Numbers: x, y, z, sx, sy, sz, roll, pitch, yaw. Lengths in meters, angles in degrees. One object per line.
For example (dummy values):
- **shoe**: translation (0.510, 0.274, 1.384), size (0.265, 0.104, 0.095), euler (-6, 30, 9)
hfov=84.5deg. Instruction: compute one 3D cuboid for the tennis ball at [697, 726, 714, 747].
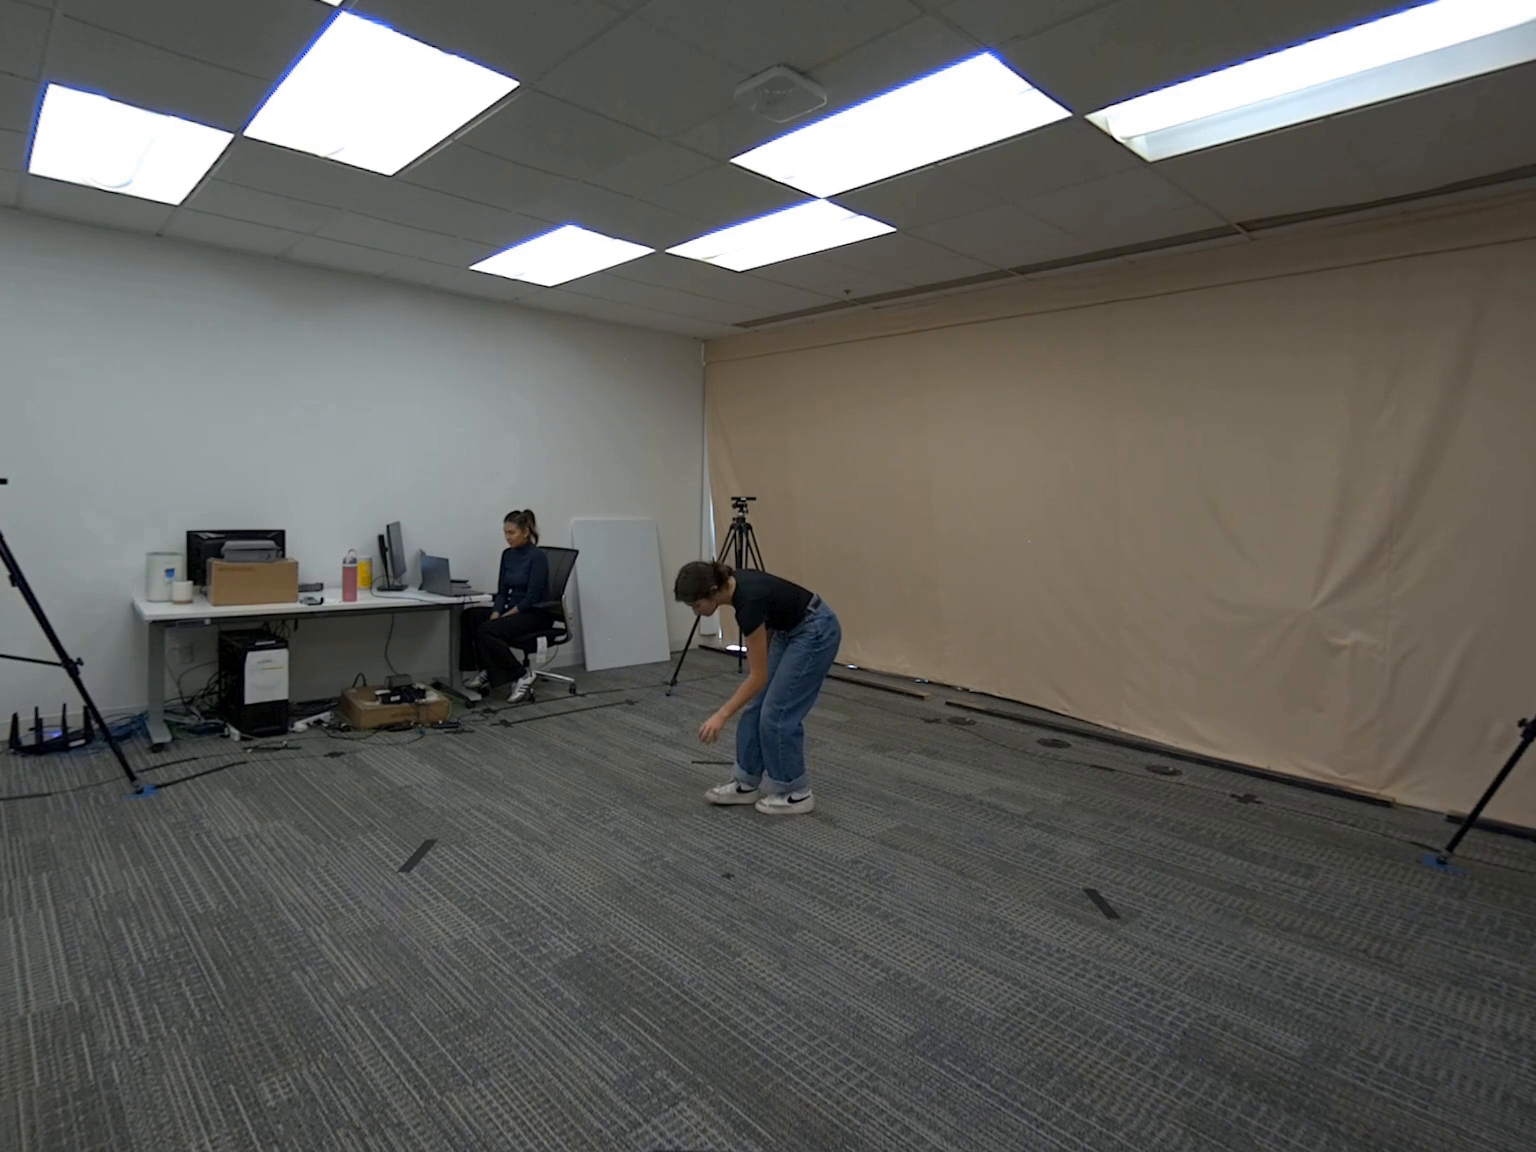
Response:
- **tennis ball**: translation (-0.263, 0.667, 3.525), size (0.066, 0.066, 0.067), euler (1, 4, -1)
